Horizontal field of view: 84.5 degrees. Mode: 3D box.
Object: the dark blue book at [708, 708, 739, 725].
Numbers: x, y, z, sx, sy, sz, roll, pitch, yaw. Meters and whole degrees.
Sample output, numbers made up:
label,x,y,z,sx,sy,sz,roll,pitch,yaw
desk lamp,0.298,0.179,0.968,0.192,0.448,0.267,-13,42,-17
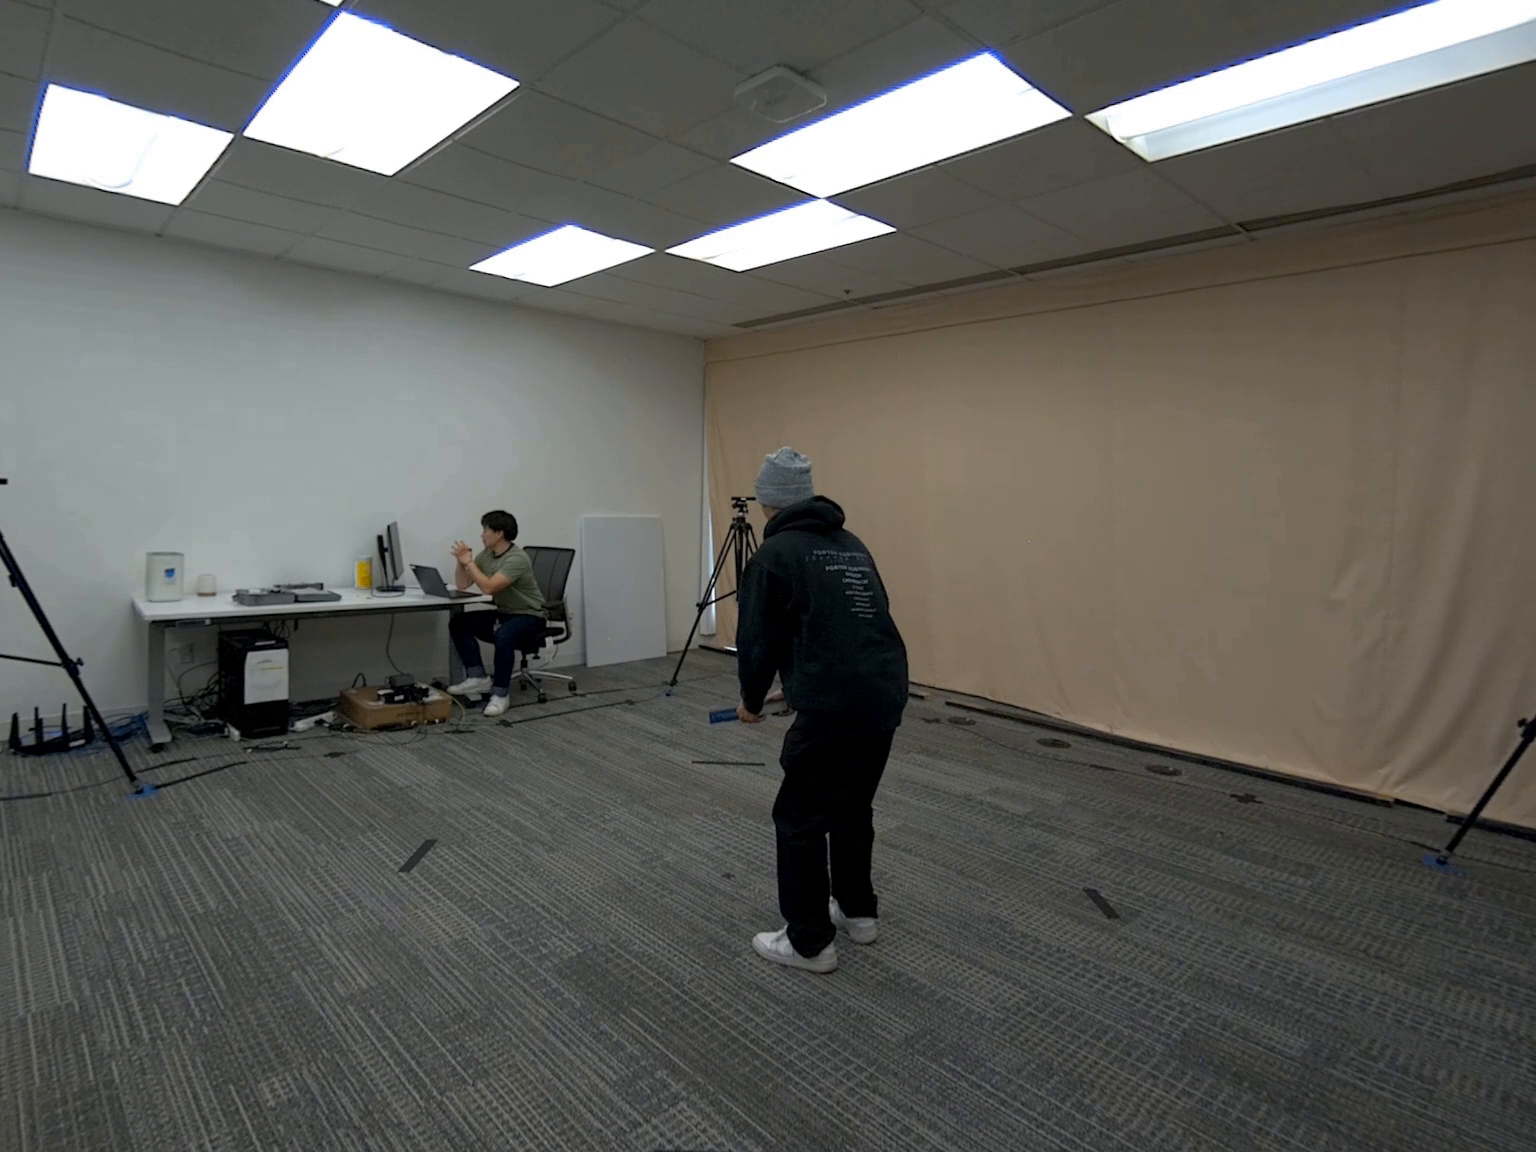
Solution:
label,x,y,z,sx,sy,sz,roll,pitch,yaw
dark blue book,-0.068,0.482,2.923,0.160,0.045,0.249,-4,-8,-41
